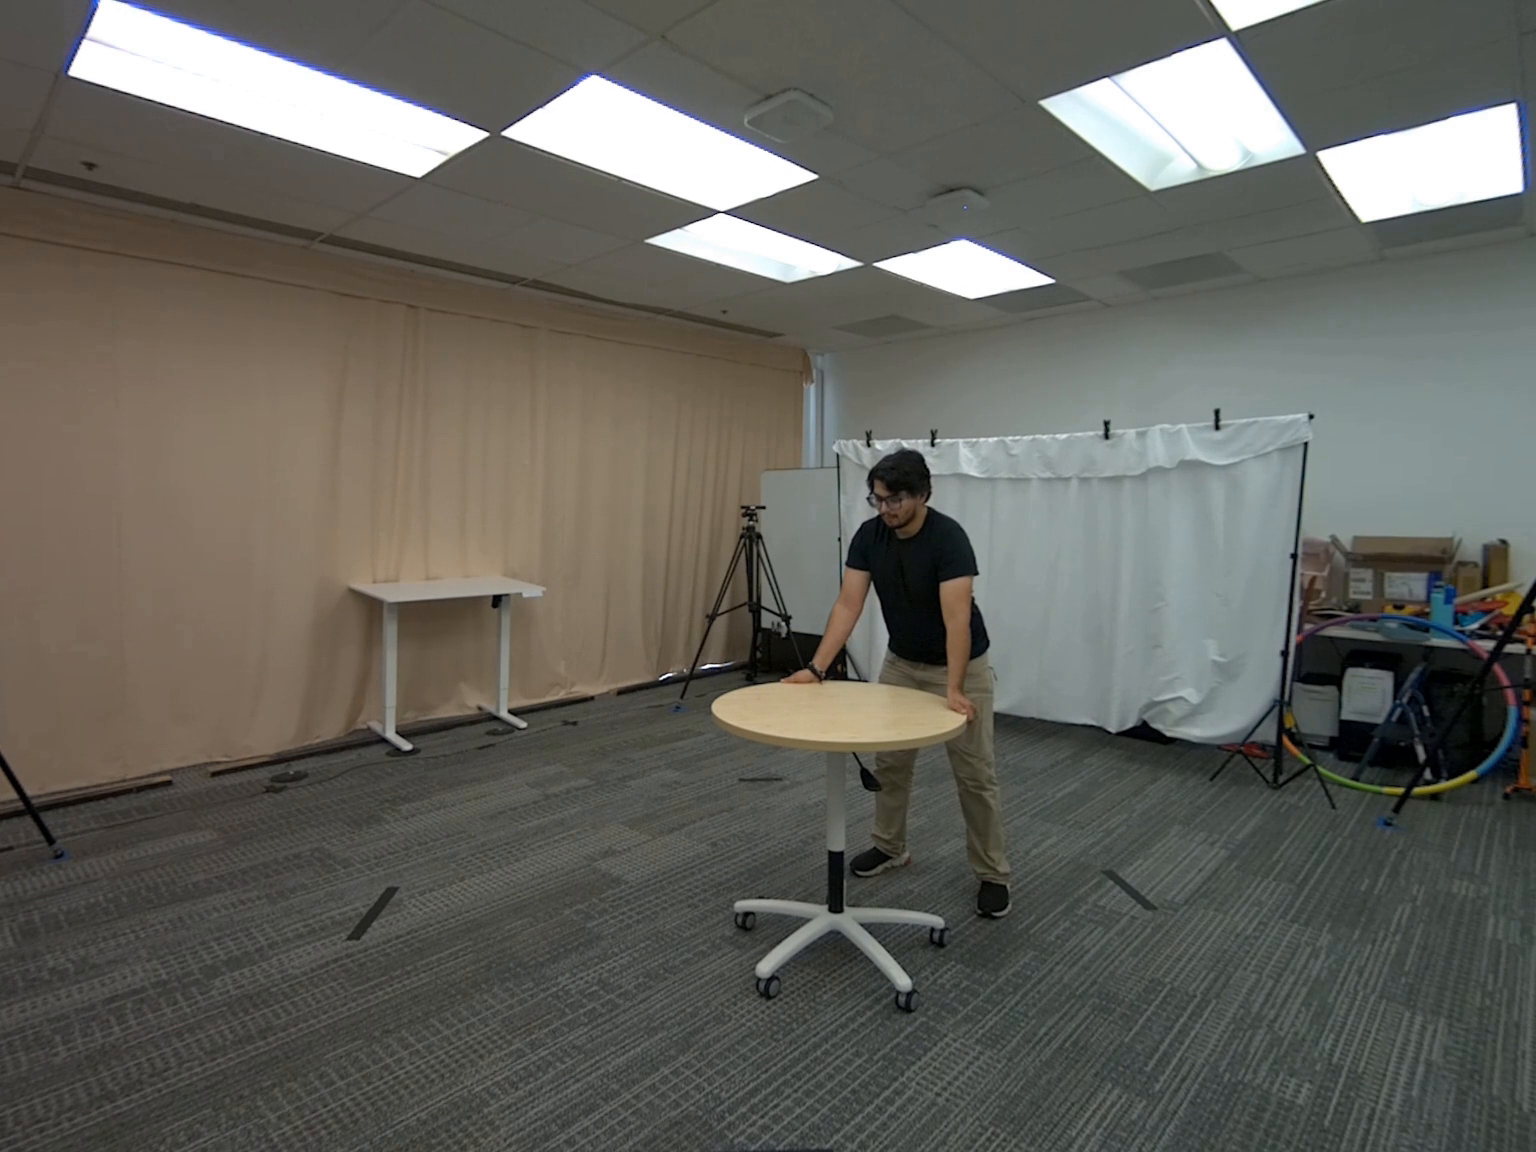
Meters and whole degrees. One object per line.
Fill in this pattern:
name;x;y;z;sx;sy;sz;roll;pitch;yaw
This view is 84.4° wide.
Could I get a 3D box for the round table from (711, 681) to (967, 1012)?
round table;0.216;0.785;2.607;0.784;0.785;0.788;0;4;-2
